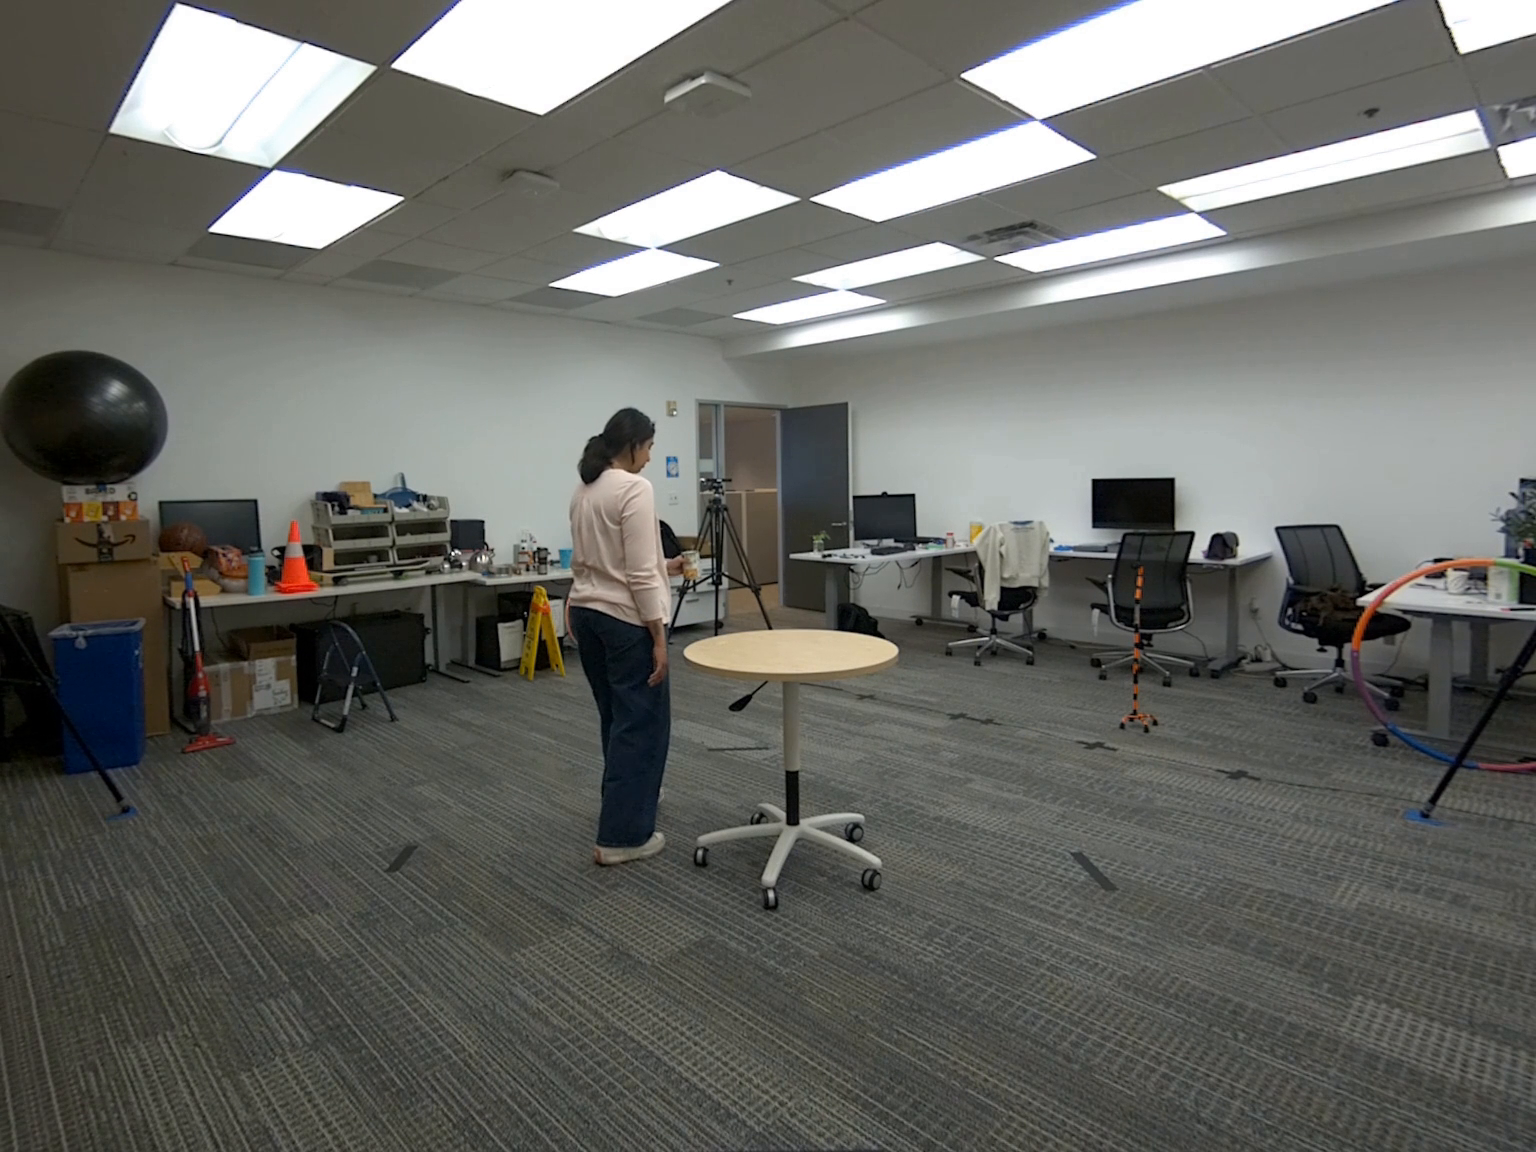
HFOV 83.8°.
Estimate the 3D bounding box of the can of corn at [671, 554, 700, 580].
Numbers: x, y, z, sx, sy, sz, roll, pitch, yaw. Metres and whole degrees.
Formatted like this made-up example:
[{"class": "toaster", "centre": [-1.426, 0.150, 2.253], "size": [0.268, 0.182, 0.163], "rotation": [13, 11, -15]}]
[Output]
[{"class": "can of corn", "centre": [-0.324, -0.045, 3.539], "size": [0.074, 0.110, 0.075], "rotation": [-3, 6, -1]}]
